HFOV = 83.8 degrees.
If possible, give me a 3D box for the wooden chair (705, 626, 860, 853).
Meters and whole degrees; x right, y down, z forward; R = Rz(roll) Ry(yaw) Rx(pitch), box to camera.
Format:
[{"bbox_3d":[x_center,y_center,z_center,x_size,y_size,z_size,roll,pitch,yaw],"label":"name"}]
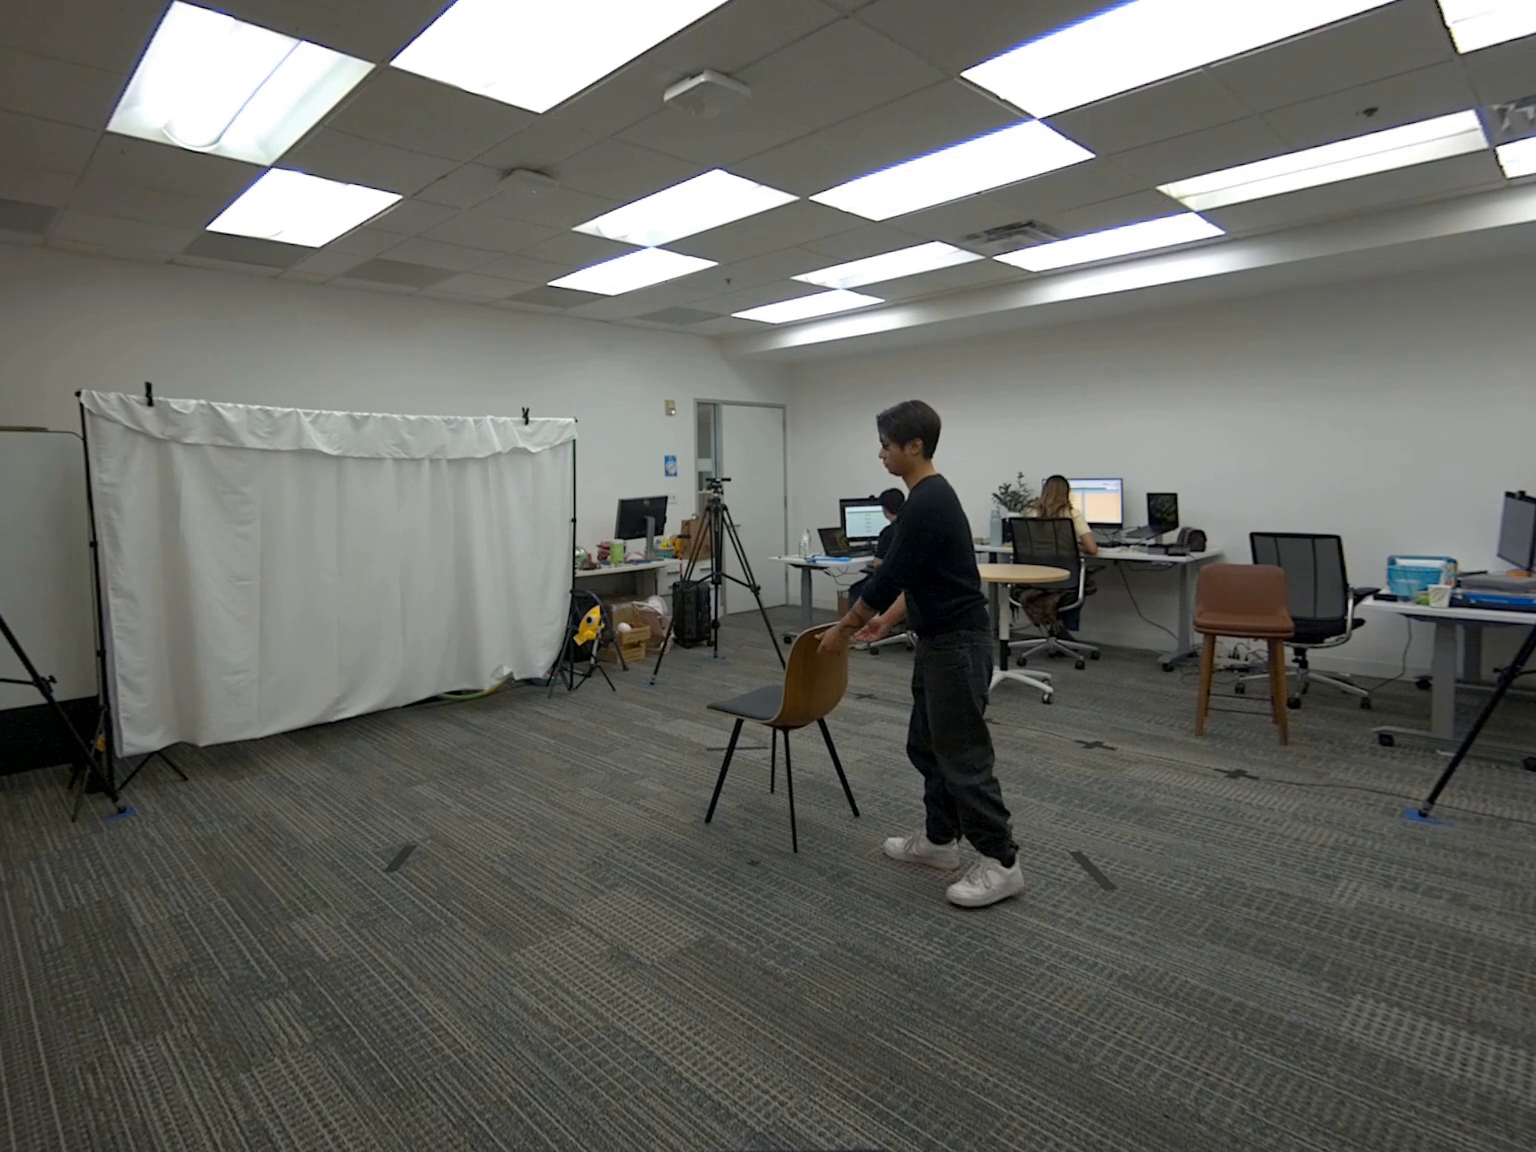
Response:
[{"bbox_3d":[0.050,0.571,3.460,0.540,0.872,0.466,8,9,38],"label":"wooden chair"}]
